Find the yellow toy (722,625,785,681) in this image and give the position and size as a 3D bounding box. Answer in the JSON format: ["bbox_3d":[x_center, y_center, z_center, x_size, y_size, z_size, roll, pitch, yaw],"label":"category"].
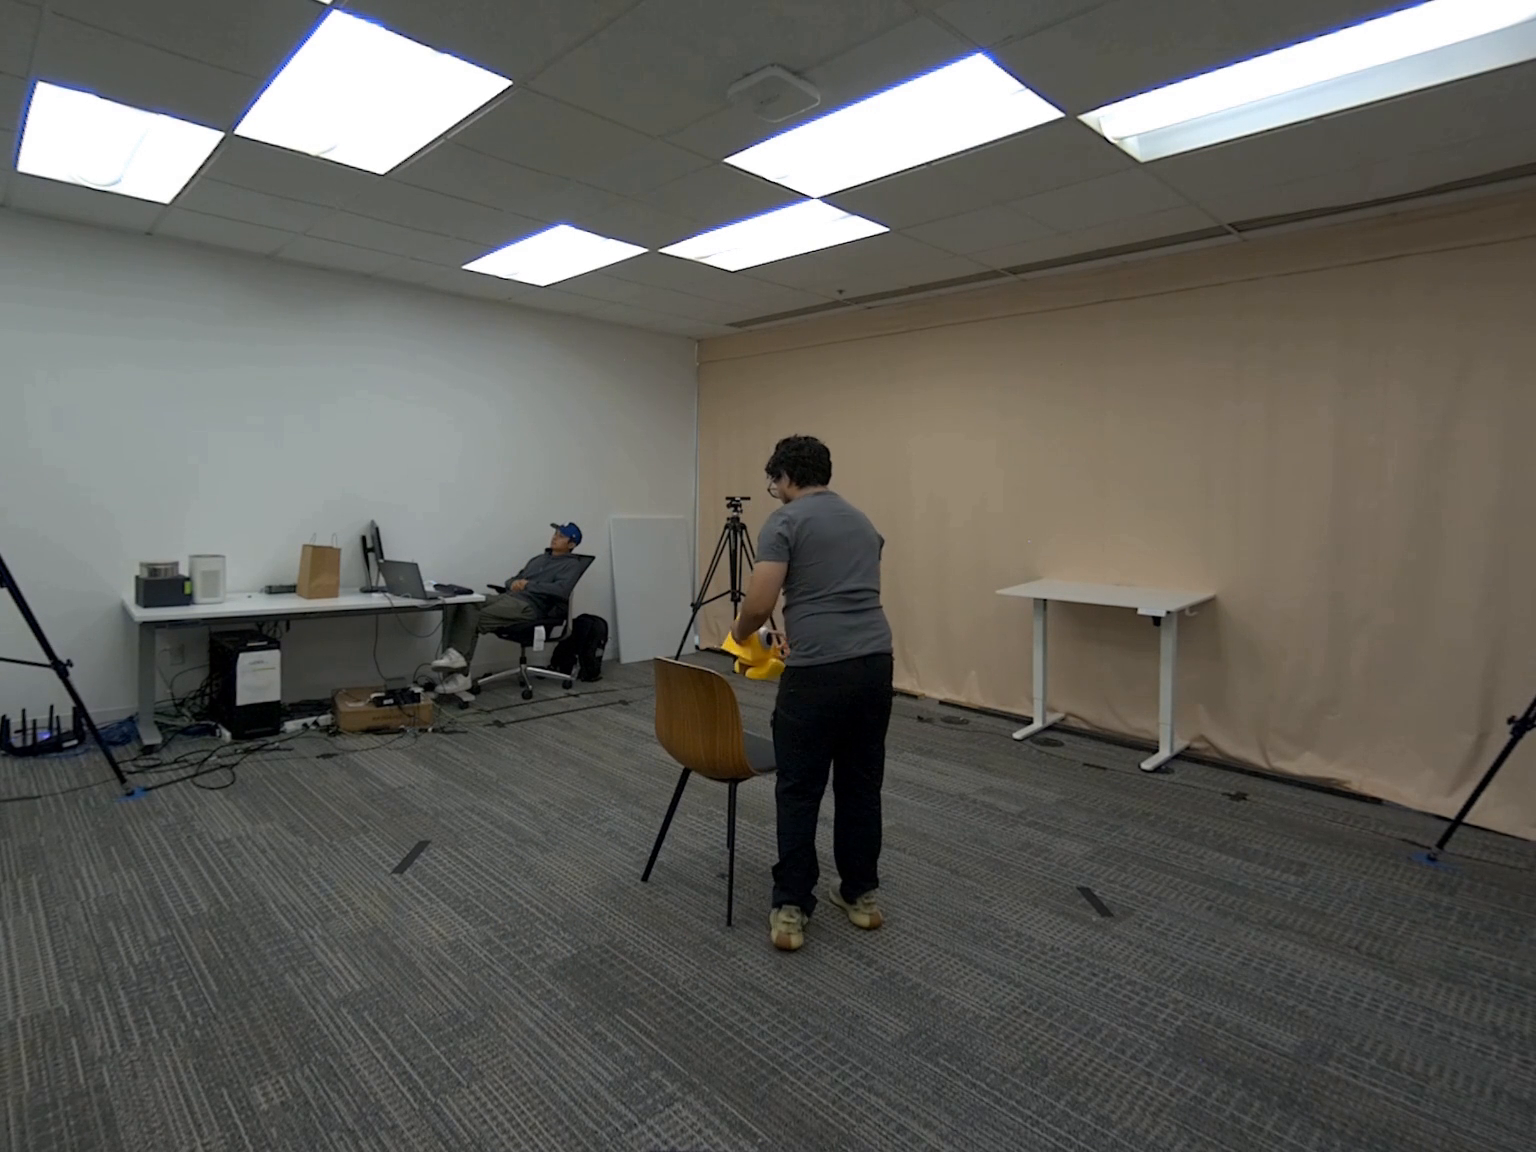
[{"bbox_3d":[-0.037,0.232,3.006,0.189,0.229,0.210,-9,11,-31],"label":"yellow toy"}]
